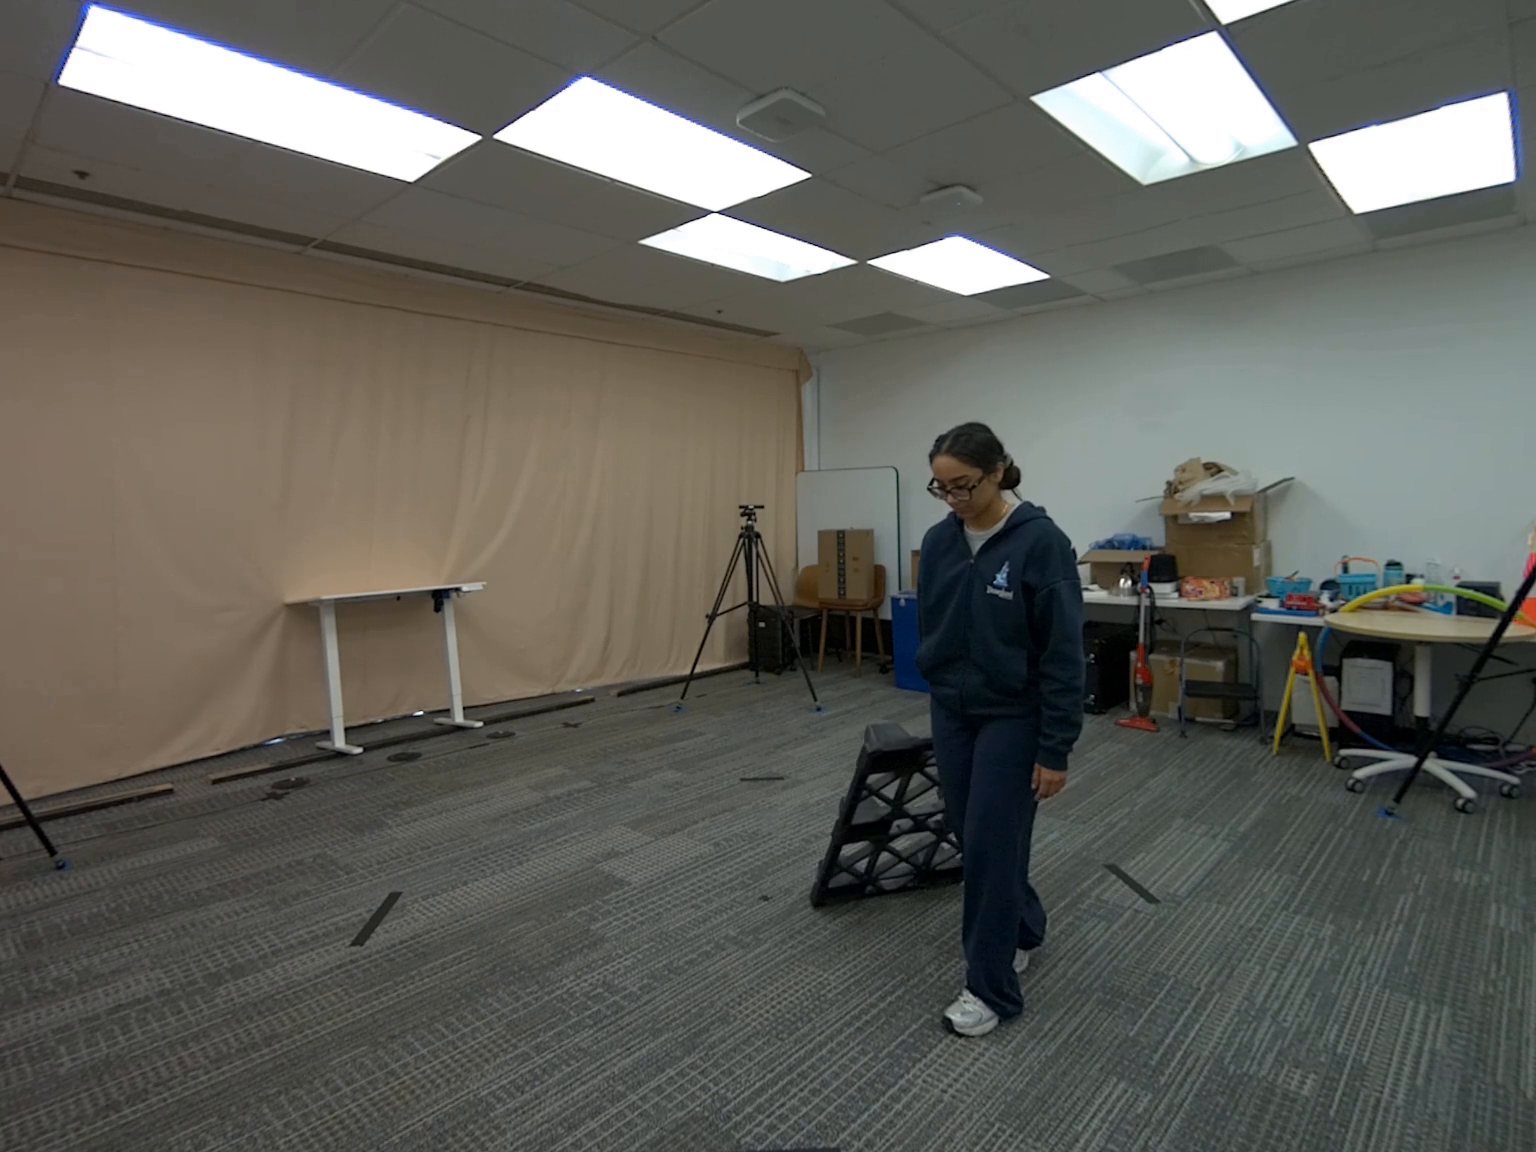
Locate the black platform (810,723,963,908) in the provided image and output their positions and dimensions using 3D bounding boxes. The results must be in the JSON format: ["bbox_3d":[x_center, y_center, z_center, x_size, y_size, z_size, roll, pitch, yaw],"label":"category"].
[{"bbox_3d":[0.480,0.782,2.804,0.595,0.796,0.147,-1,37,-17],"label":"black platform"}]
